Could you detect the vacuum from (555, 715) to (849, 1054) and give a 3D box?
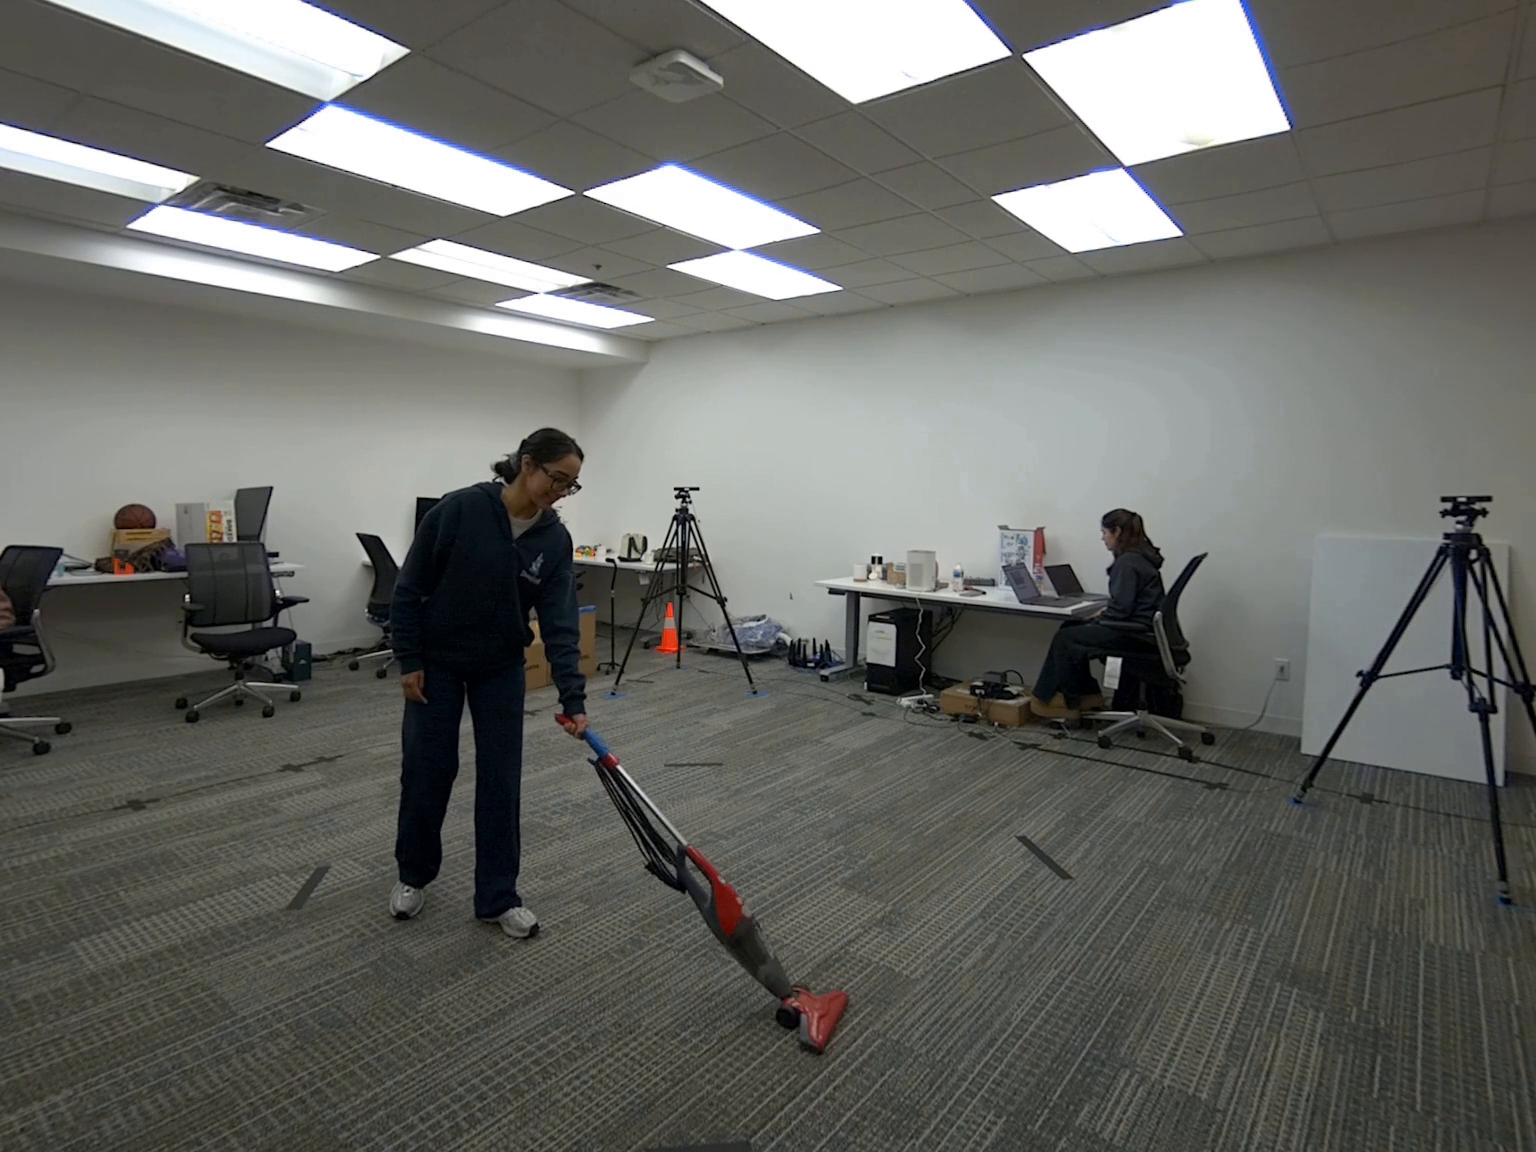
[{"bbox_3d":[-0.257,0.793,2.387,1.074,0.144,0.247,44,20,16],"label":"vacuum"}]
